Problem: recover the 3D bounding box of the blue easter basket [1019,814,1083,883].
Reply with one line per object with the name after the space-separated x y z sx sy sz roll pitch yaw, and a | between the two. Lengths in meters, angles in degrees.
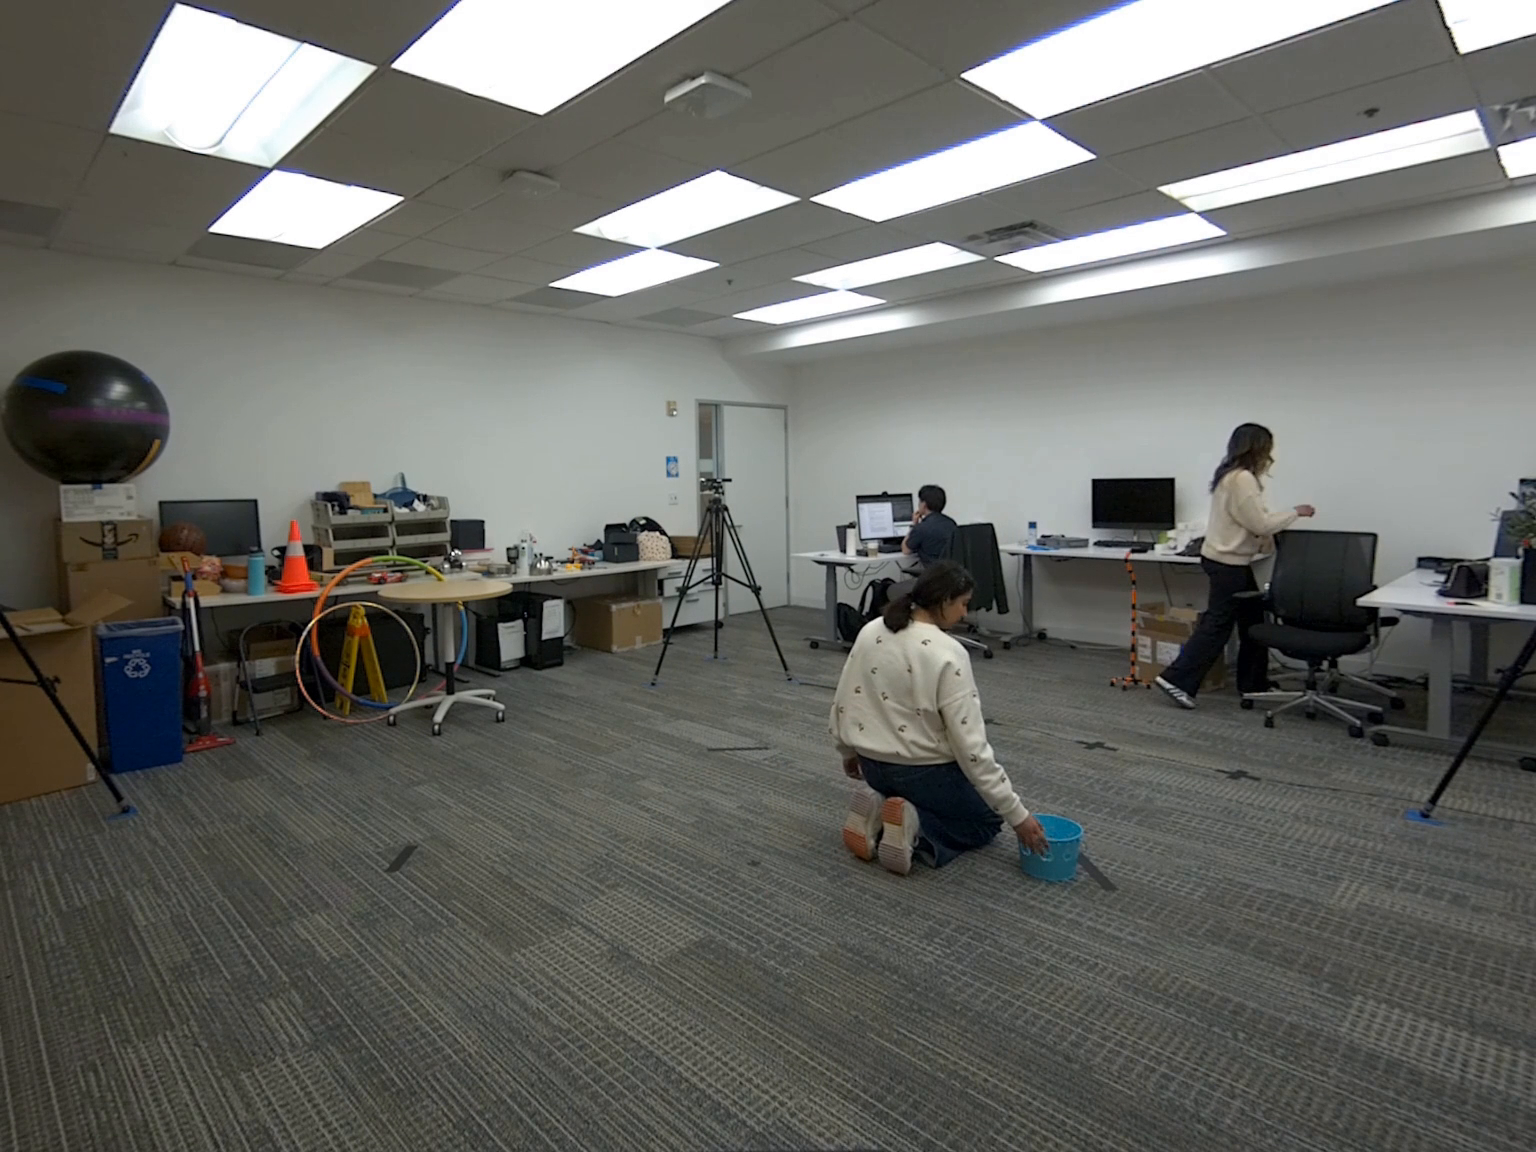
0.981 0.956 3.011 0.243 0.155 0.245 -2 6 -1 | blue easter basket
